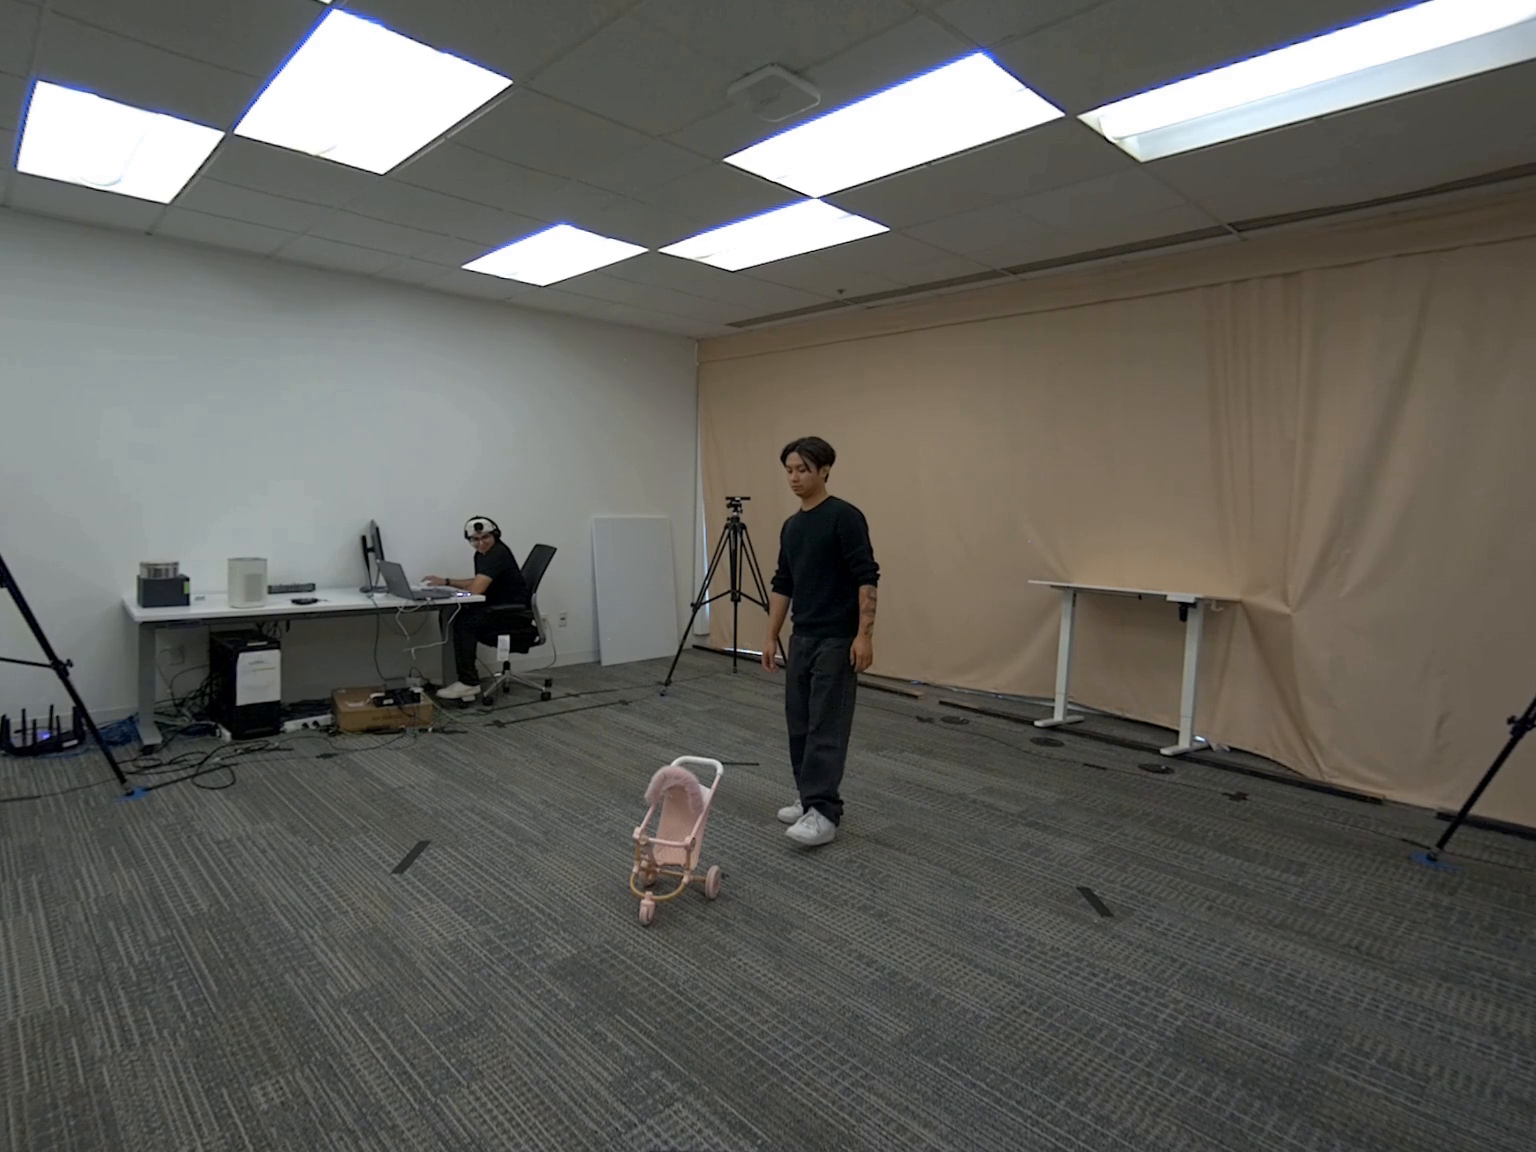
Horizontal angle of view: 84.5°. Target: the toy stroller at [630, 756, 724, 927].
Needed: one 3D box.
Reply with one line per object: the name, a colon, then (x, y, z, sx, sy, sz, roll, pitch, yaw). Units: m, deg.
toy stroller: (-0.335, 0.898, 2.905, 0.287, 0.539, 0.332, 2, -12, 24)
